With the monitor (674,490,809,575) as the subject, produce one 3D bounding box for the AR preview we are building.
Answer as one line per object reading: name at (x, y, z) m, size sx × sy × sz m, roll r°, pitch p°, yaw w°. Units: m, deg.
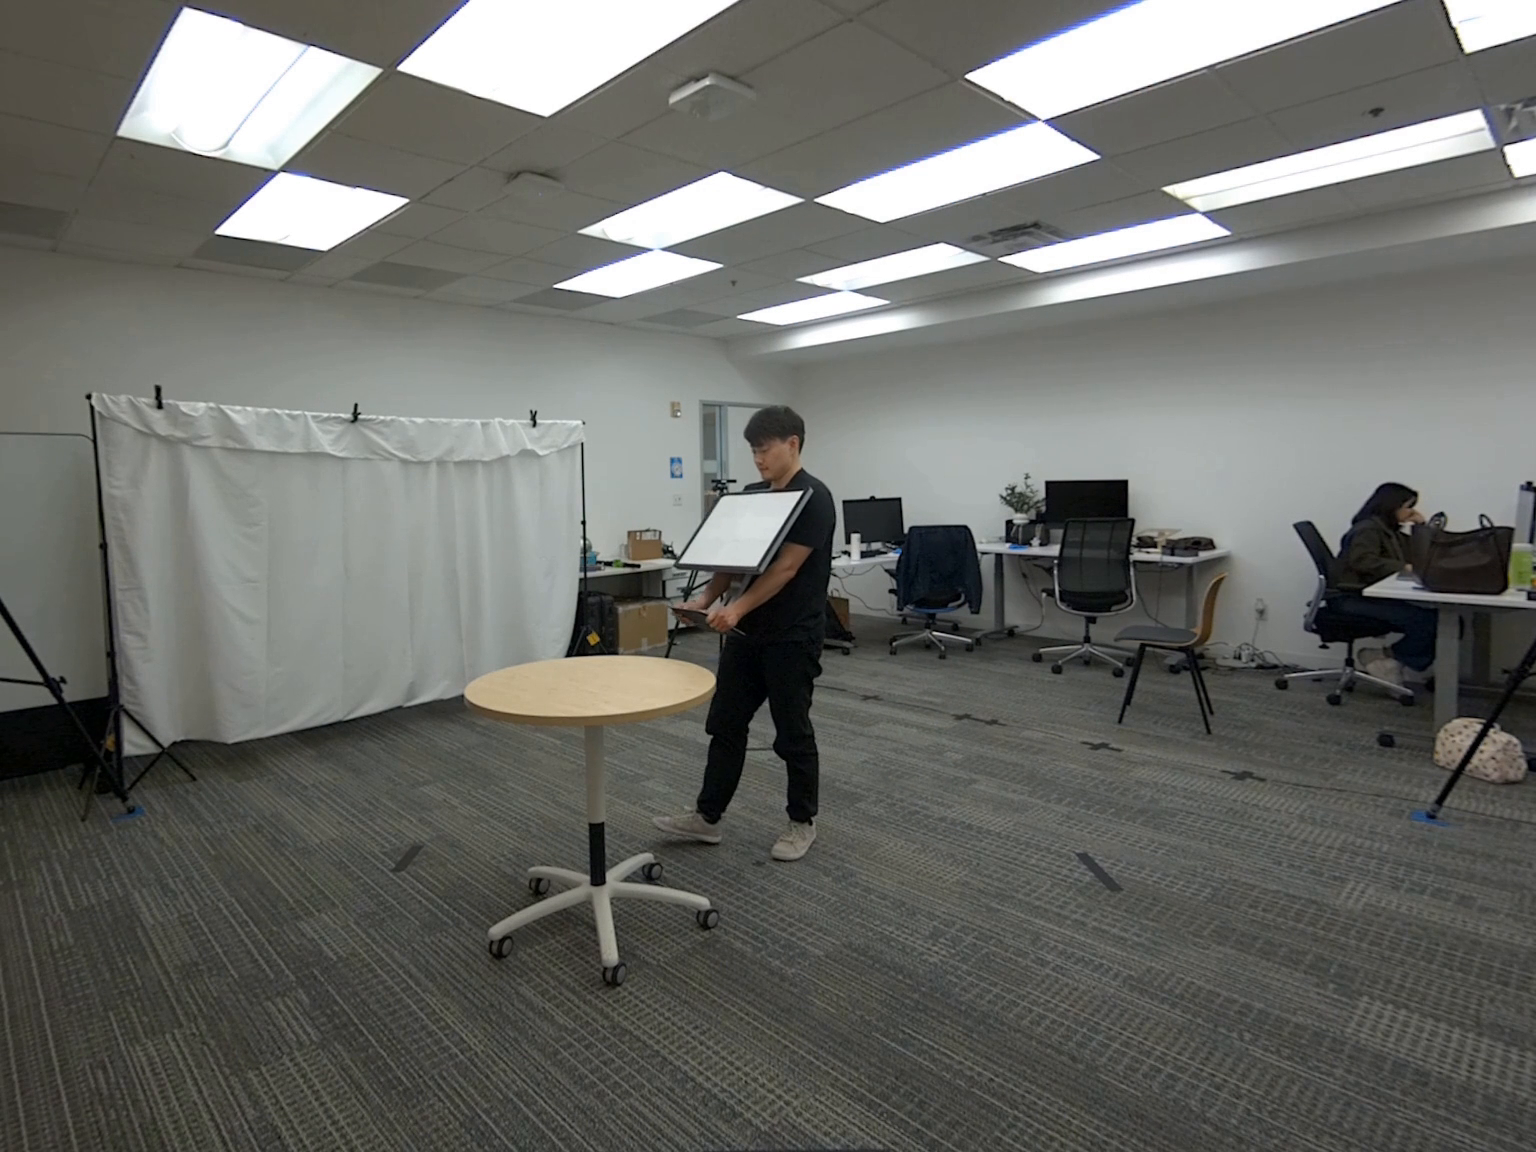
monitor at (-0.130, -0.074, 3.102) m, size 0.181 × 0.526 × 0.554 m, roll 33°, pitch -17°, yaw -33°
